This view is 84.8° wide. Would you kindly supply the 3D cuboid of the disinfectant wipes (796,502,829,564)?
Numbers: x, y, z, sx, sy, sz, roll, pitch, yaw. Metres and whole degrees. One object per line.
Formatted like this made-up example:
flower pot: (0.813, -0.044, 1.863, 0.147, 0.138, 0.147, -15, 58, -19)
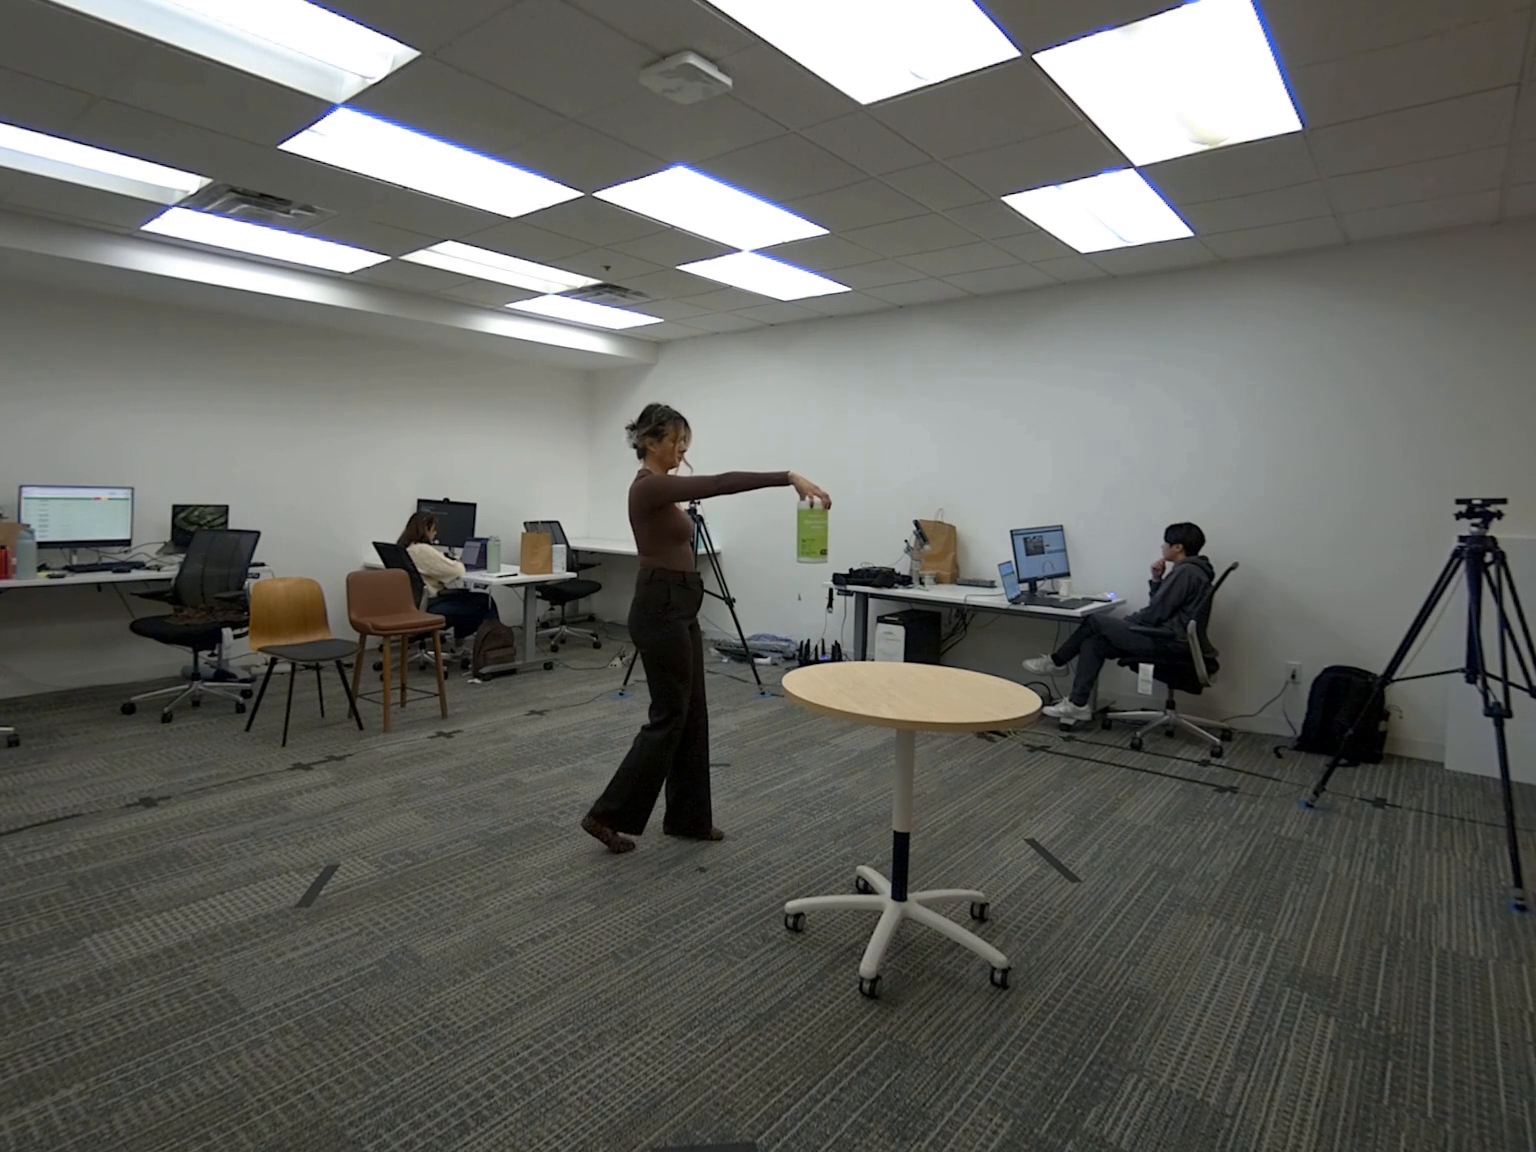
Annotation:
disinfectant wipes: (0.142, -0.157, 2.954, 0.118, 0.217, 0.118, -1, 3, -2)
